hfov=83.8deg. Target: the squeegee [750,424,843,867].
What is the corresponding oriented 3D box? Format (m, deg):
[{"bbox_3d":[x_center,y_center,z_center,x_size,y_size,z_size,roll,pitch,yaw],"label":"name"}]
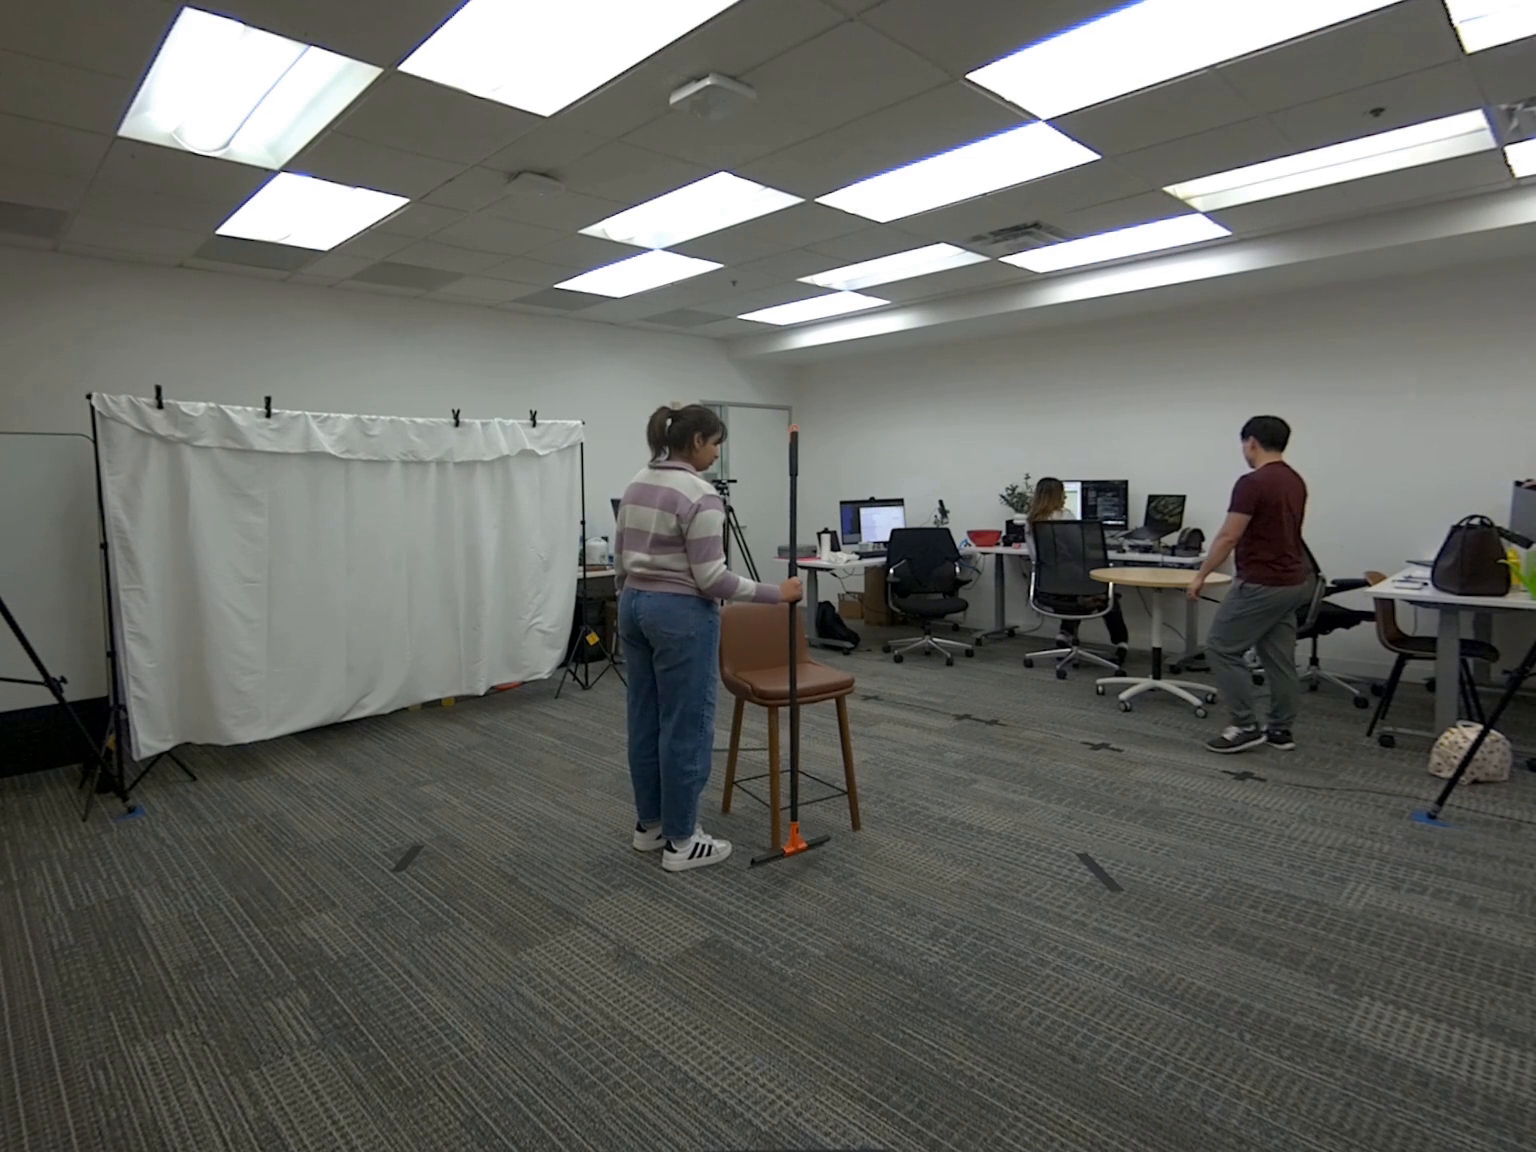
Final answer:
[{"bbox_3d":[0.083,0.204,3.078,0.054,1.545,0.424,-4,-7,43],"label":"squeegee"}]
